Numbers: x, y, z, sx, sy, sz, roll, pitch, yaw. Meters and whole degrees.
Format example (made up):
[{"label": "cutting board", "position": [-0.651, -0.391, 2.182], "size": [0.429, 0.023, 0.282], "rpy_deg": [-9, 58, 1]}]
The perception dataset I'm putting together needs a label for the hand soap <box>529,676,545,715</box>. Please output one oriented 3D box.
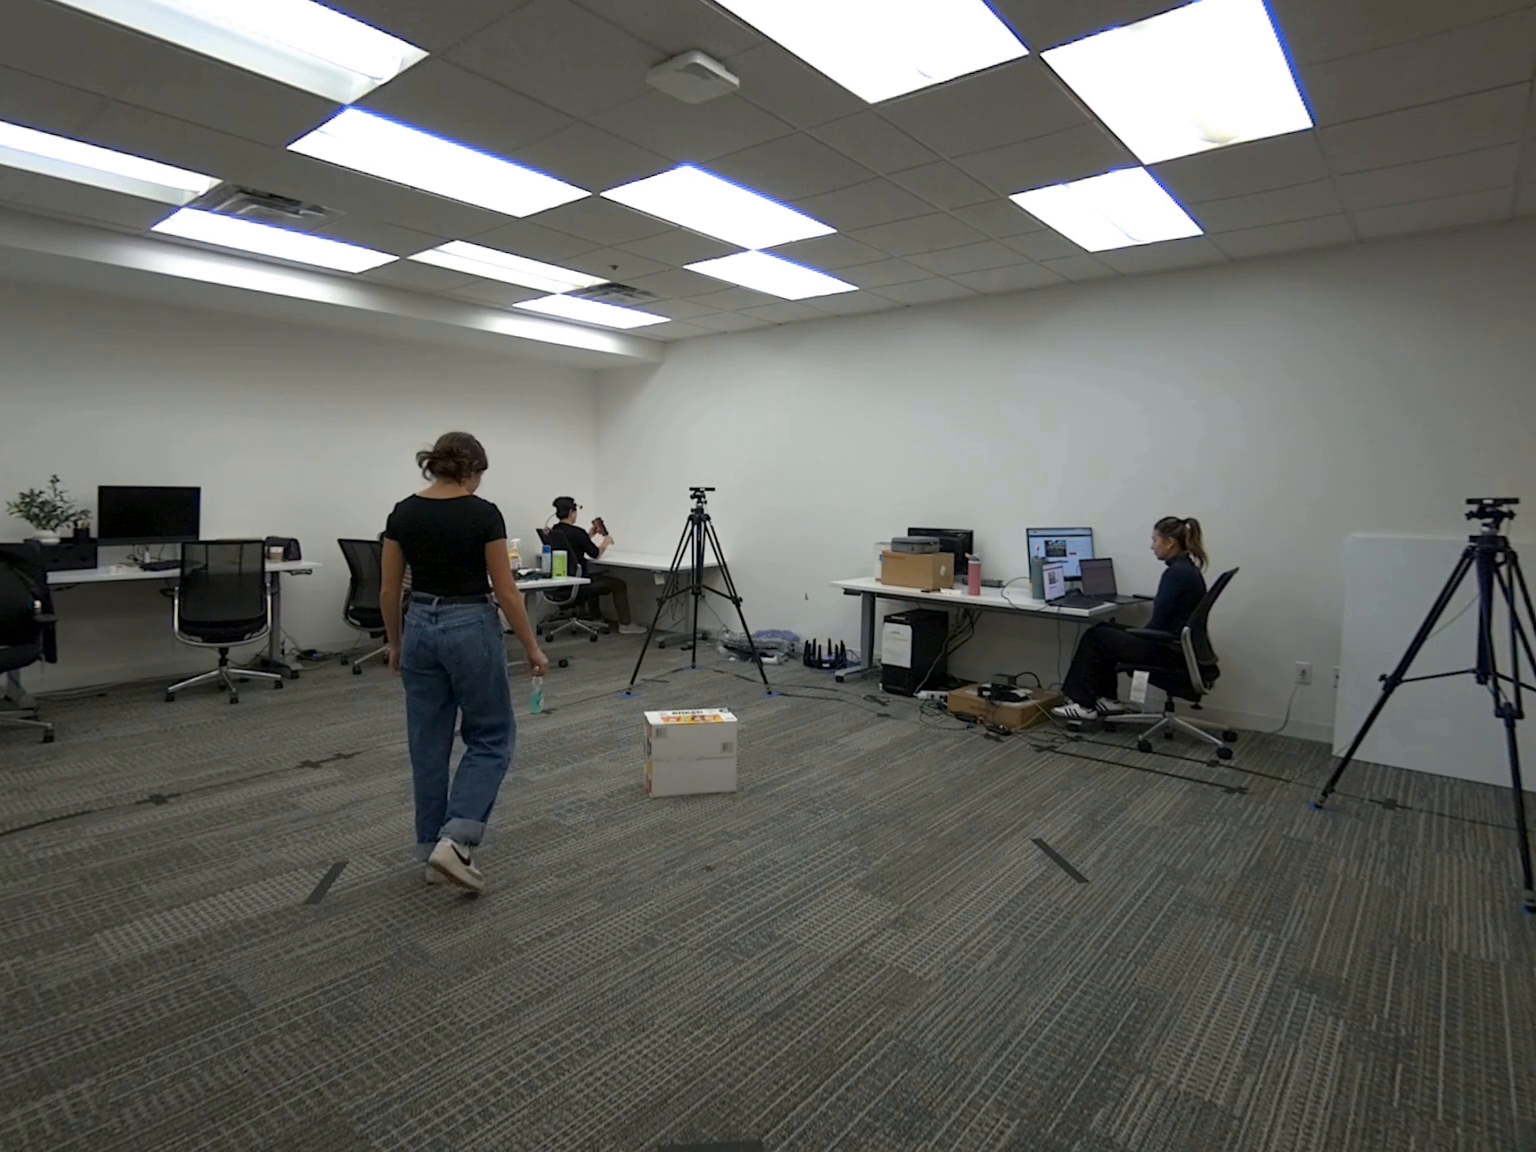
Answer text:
[{"label": "hand soap", "position": [-0.865, 0.416, 3.090], "size": [0.043, 0.166, 0.086], "rpy_deg": [4, 14, -6]}]
